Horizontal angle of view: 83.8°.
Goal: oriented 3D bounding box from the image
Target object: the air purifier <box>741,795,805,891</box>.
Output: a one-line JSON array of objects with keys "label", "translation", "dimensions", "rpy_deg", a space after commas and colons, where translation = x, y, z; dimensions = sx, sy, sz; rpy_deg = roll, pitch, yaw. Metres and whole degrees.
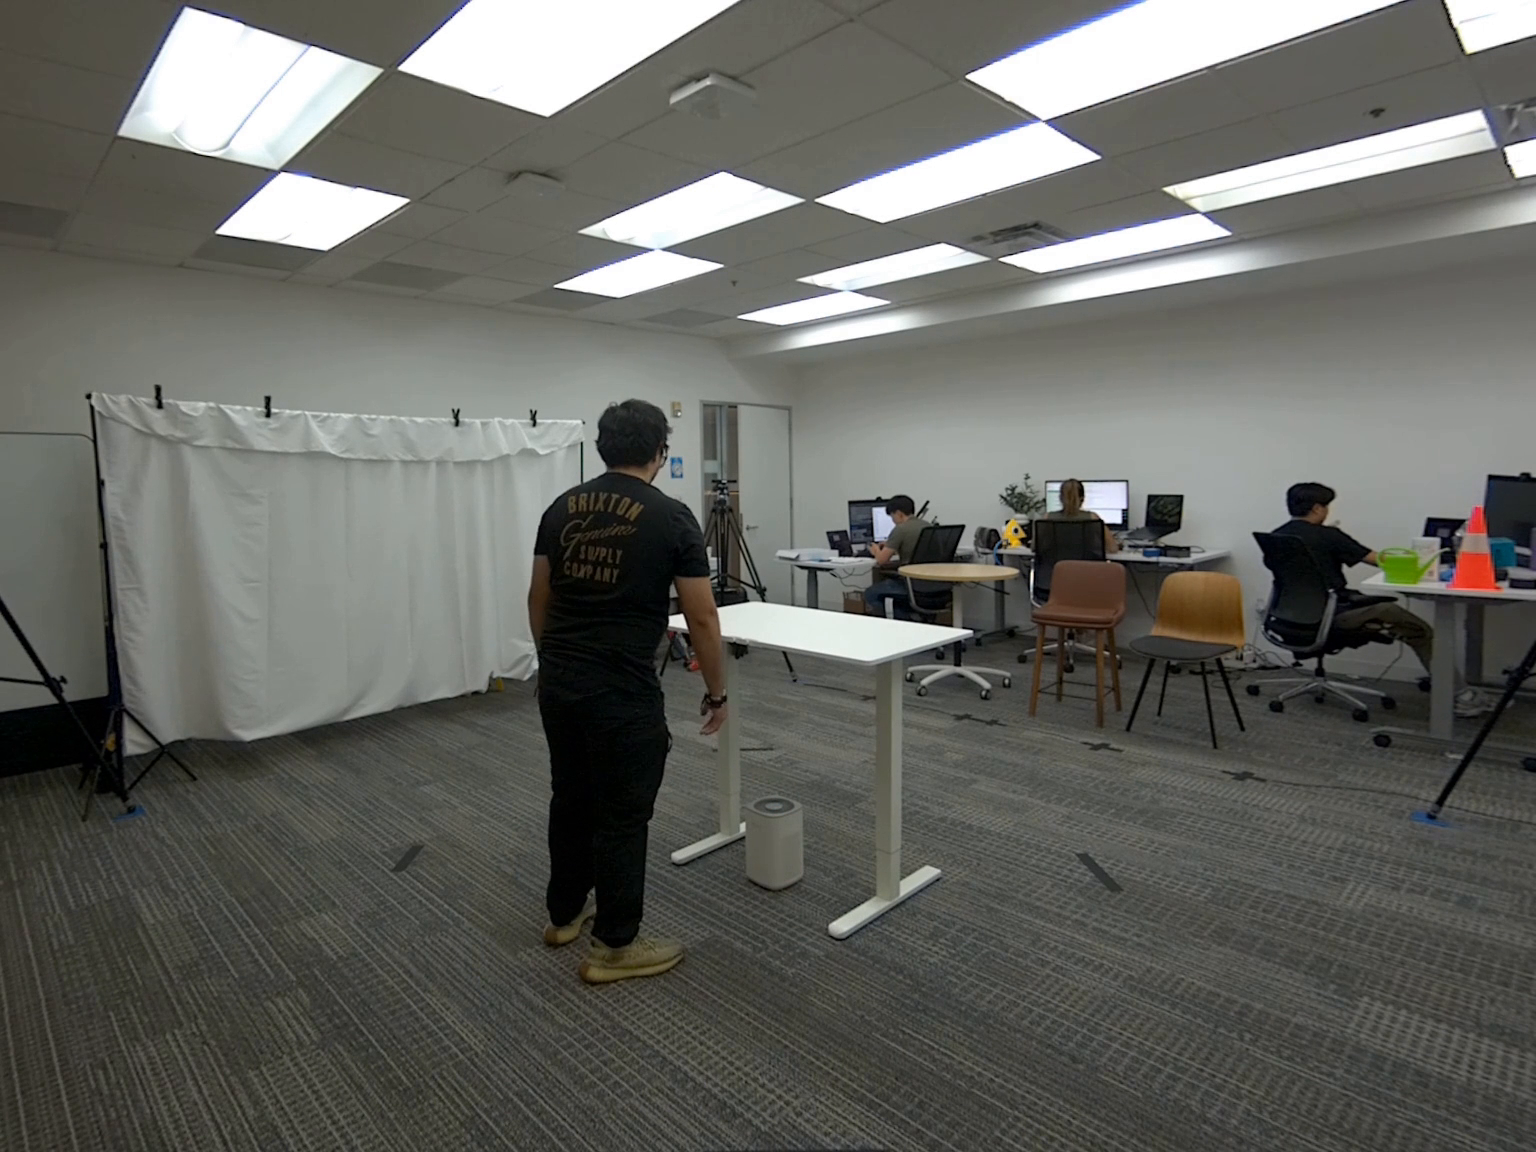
[{"label": "air purifier", "translation": [0.025, 0.924, 2.976], "dimensions": [0.176, 0.264, 0.167], "rpy_deg": [3, 5, 45]}]
